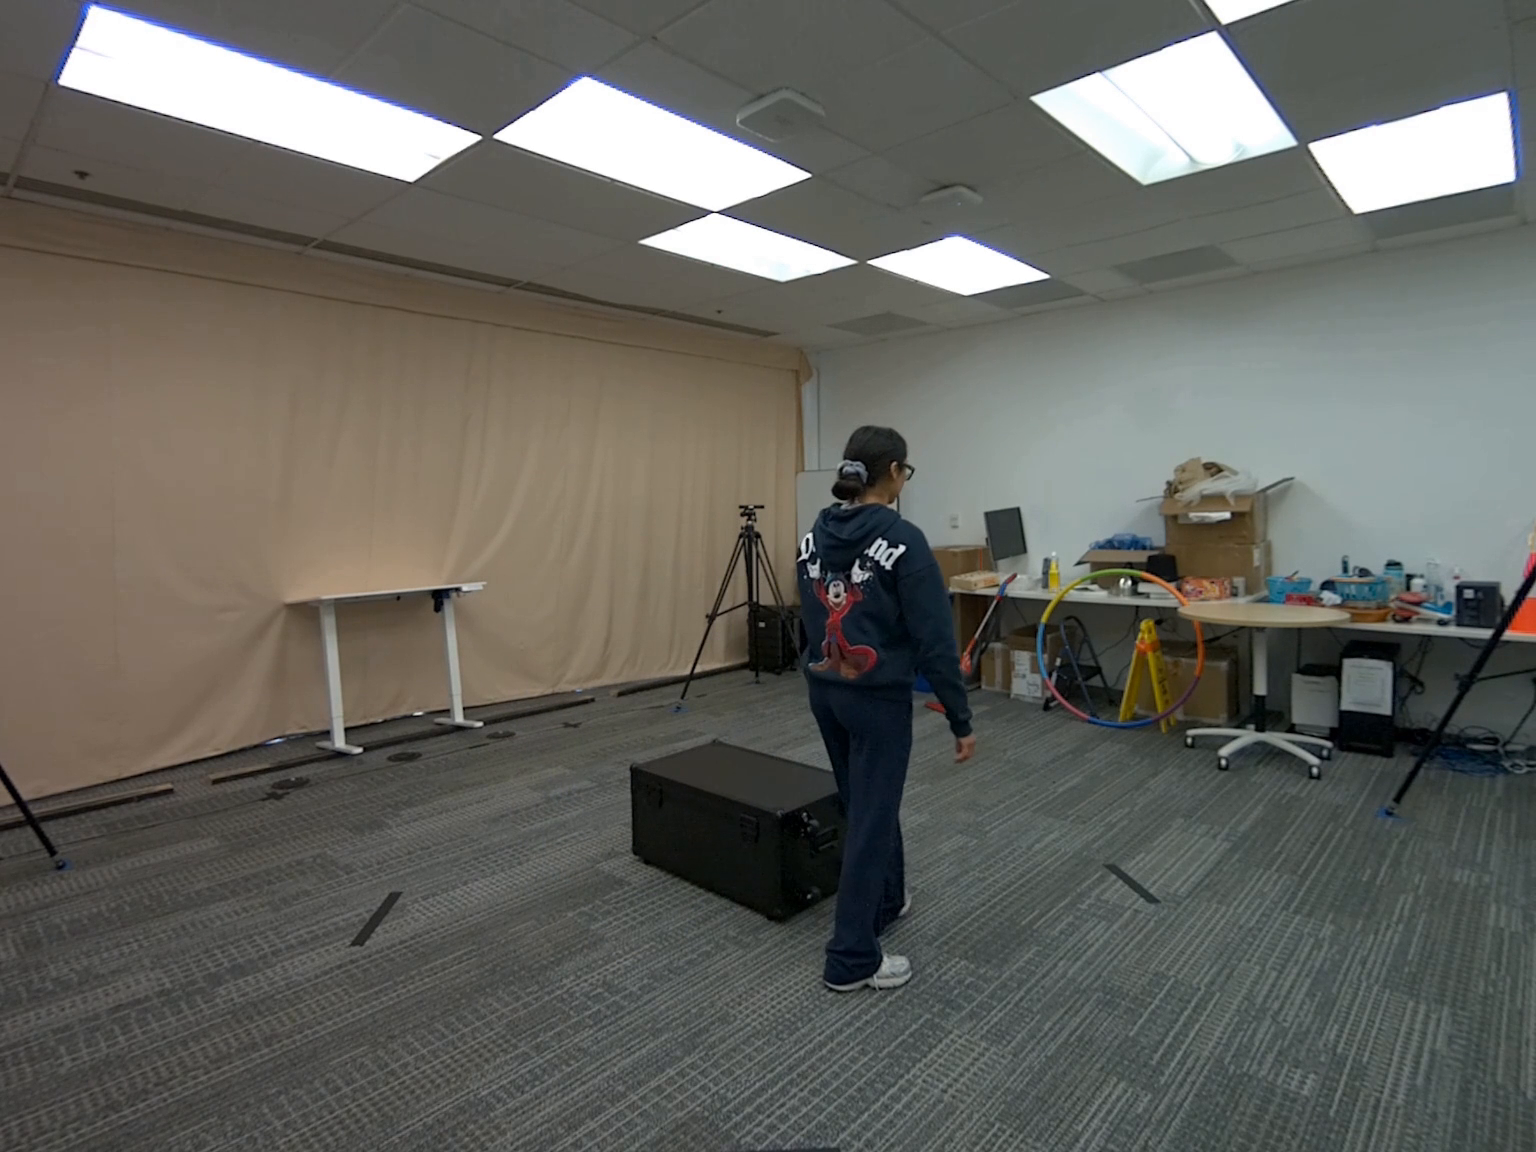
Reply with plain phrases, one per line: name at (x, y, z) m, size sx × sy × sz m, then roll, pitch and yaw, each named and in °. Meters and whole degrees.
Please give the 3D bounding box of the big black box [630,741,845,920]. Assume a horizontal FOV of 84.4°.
big black box at (-0.066, 0.935, 3.190) m, size 0.890 × 0.395 × 0.505 m, roll 3°, pitch 6°, yaw 43°
